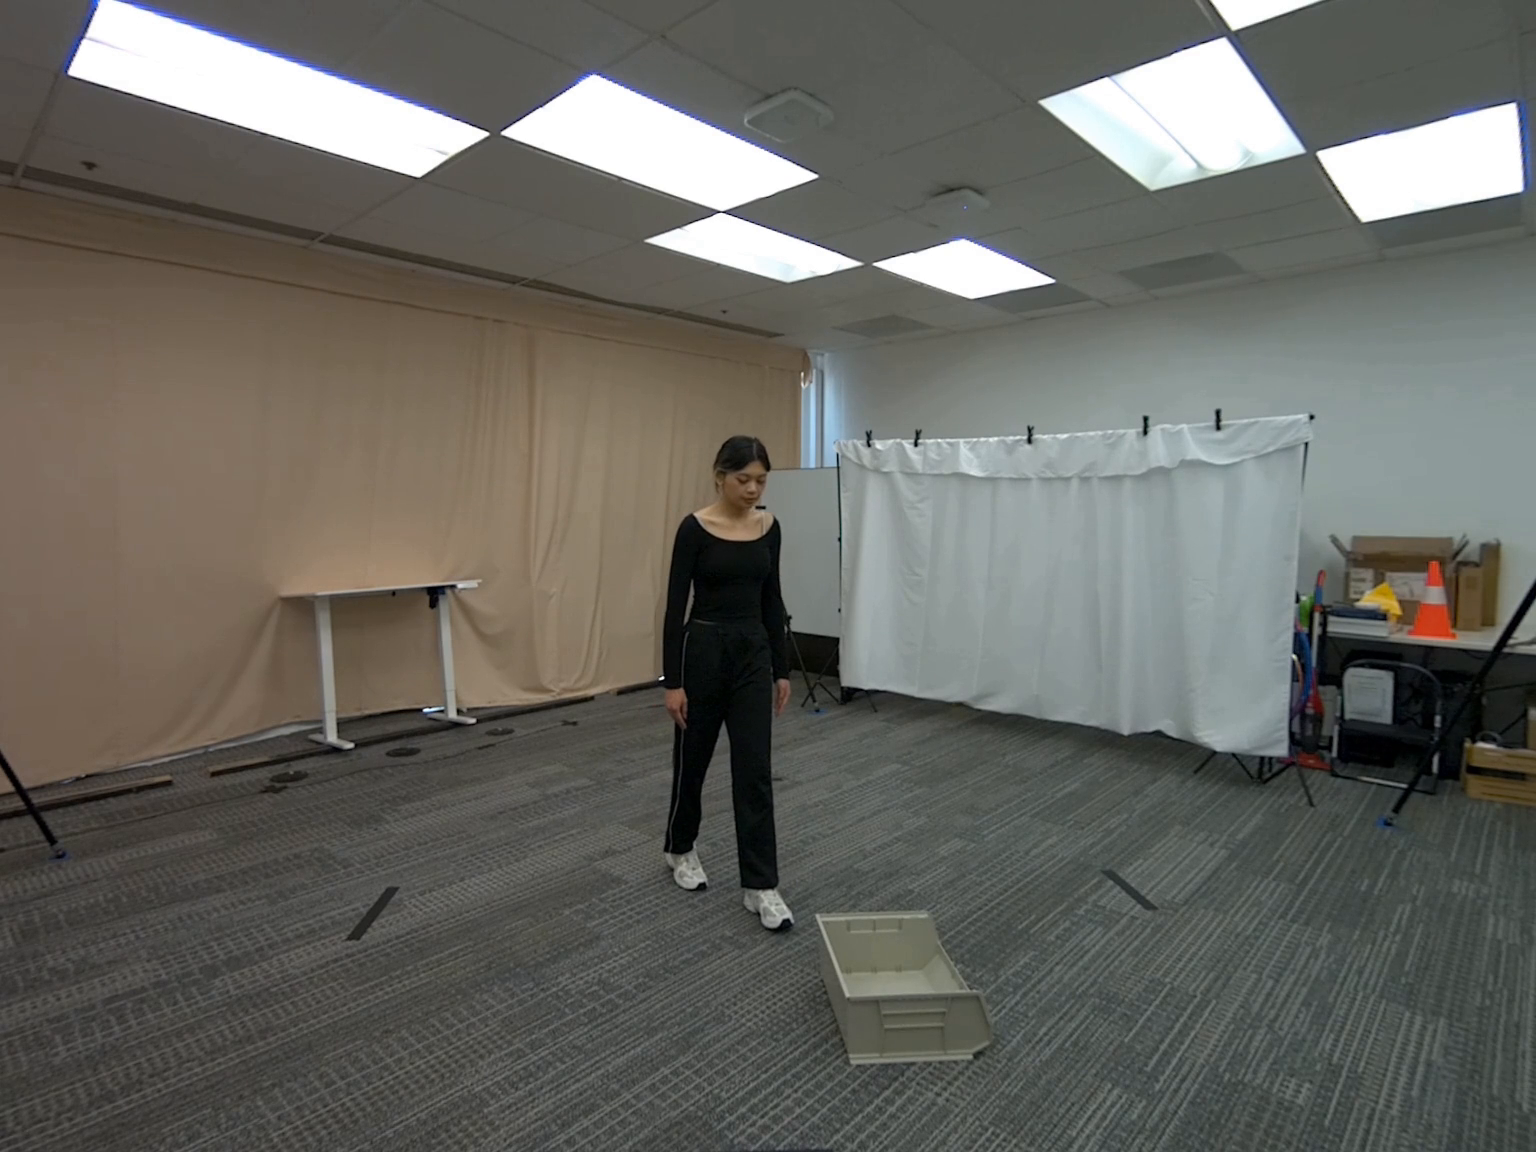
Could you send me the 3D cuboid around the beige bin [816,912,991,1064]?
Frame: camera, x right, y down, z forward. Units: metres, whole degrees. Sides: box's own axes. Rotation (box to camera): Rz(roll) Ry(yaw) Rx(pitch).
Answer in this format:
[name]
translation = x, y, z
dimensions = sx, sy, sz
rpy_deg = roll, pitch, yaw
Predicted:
[beige bin]
translation = 0.360, 1.112, 2.302
dimensions = 0.375, 0.188, 0.426
rpy_deg = -1, 5, -6
